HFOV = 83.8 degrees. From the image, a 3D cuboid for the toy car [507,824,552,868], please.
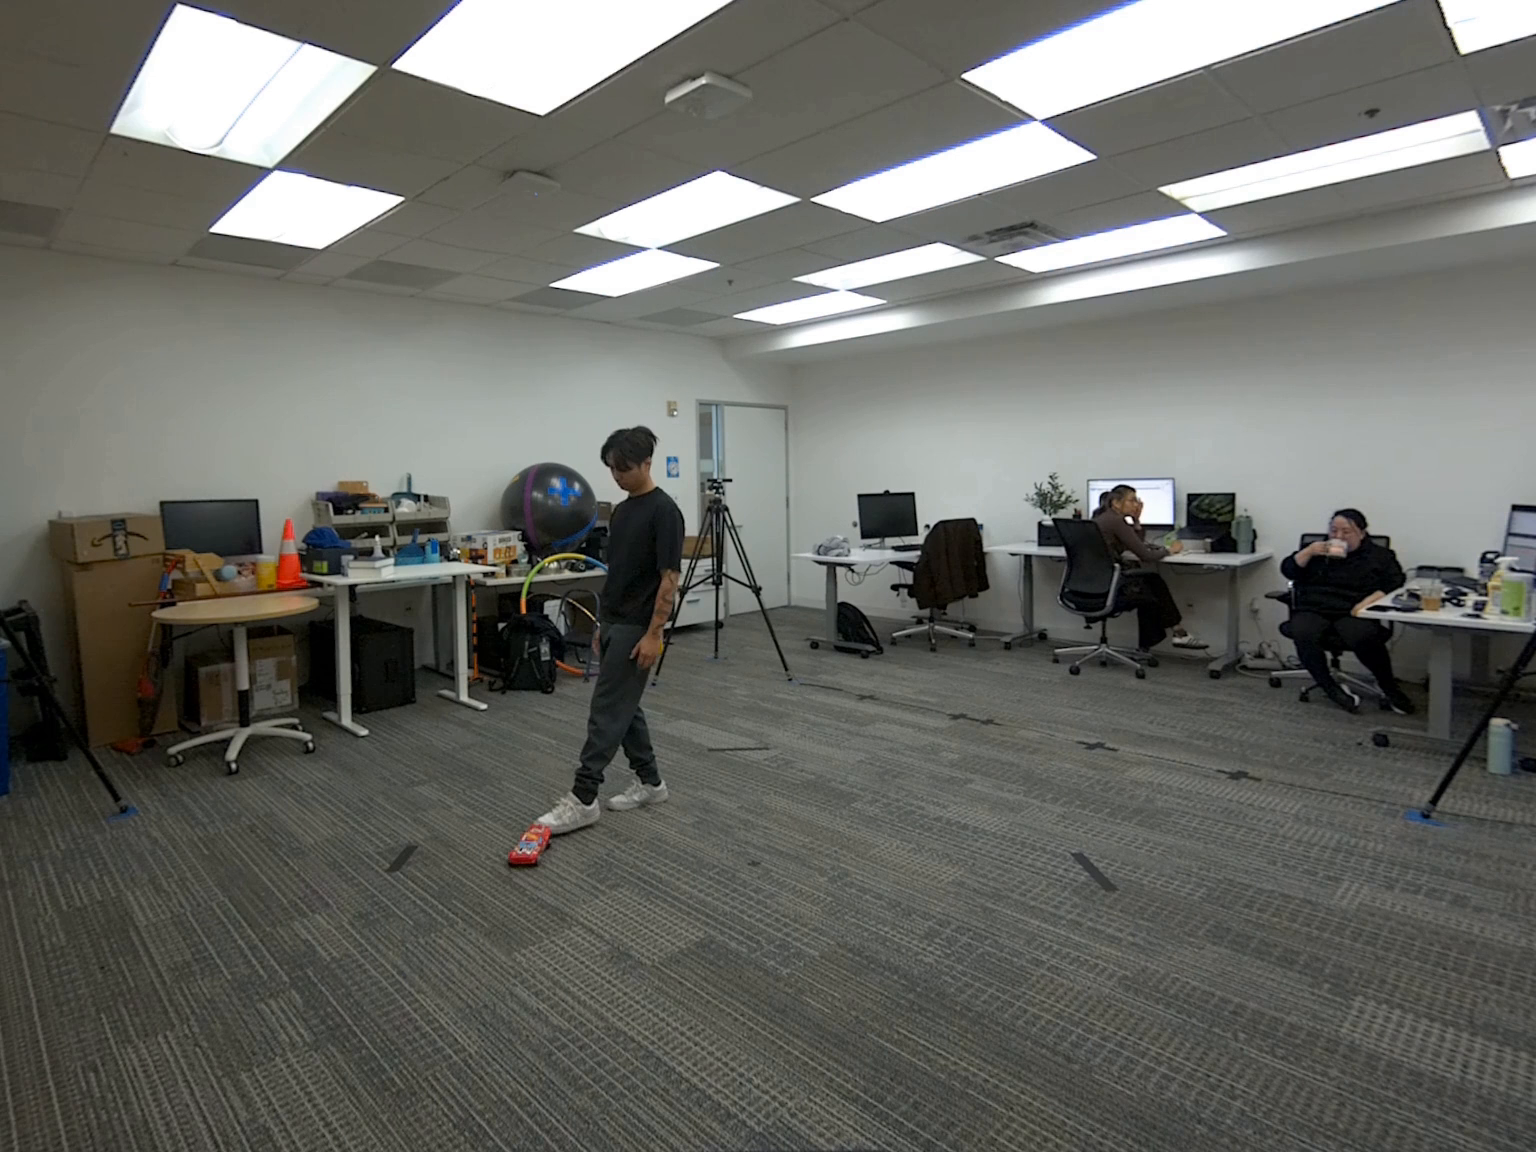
[{"bbox_3d":[-0.890,1.016,3.227,0.131,0.082,0.257,-1,17,3],"label":"toy car"}]
